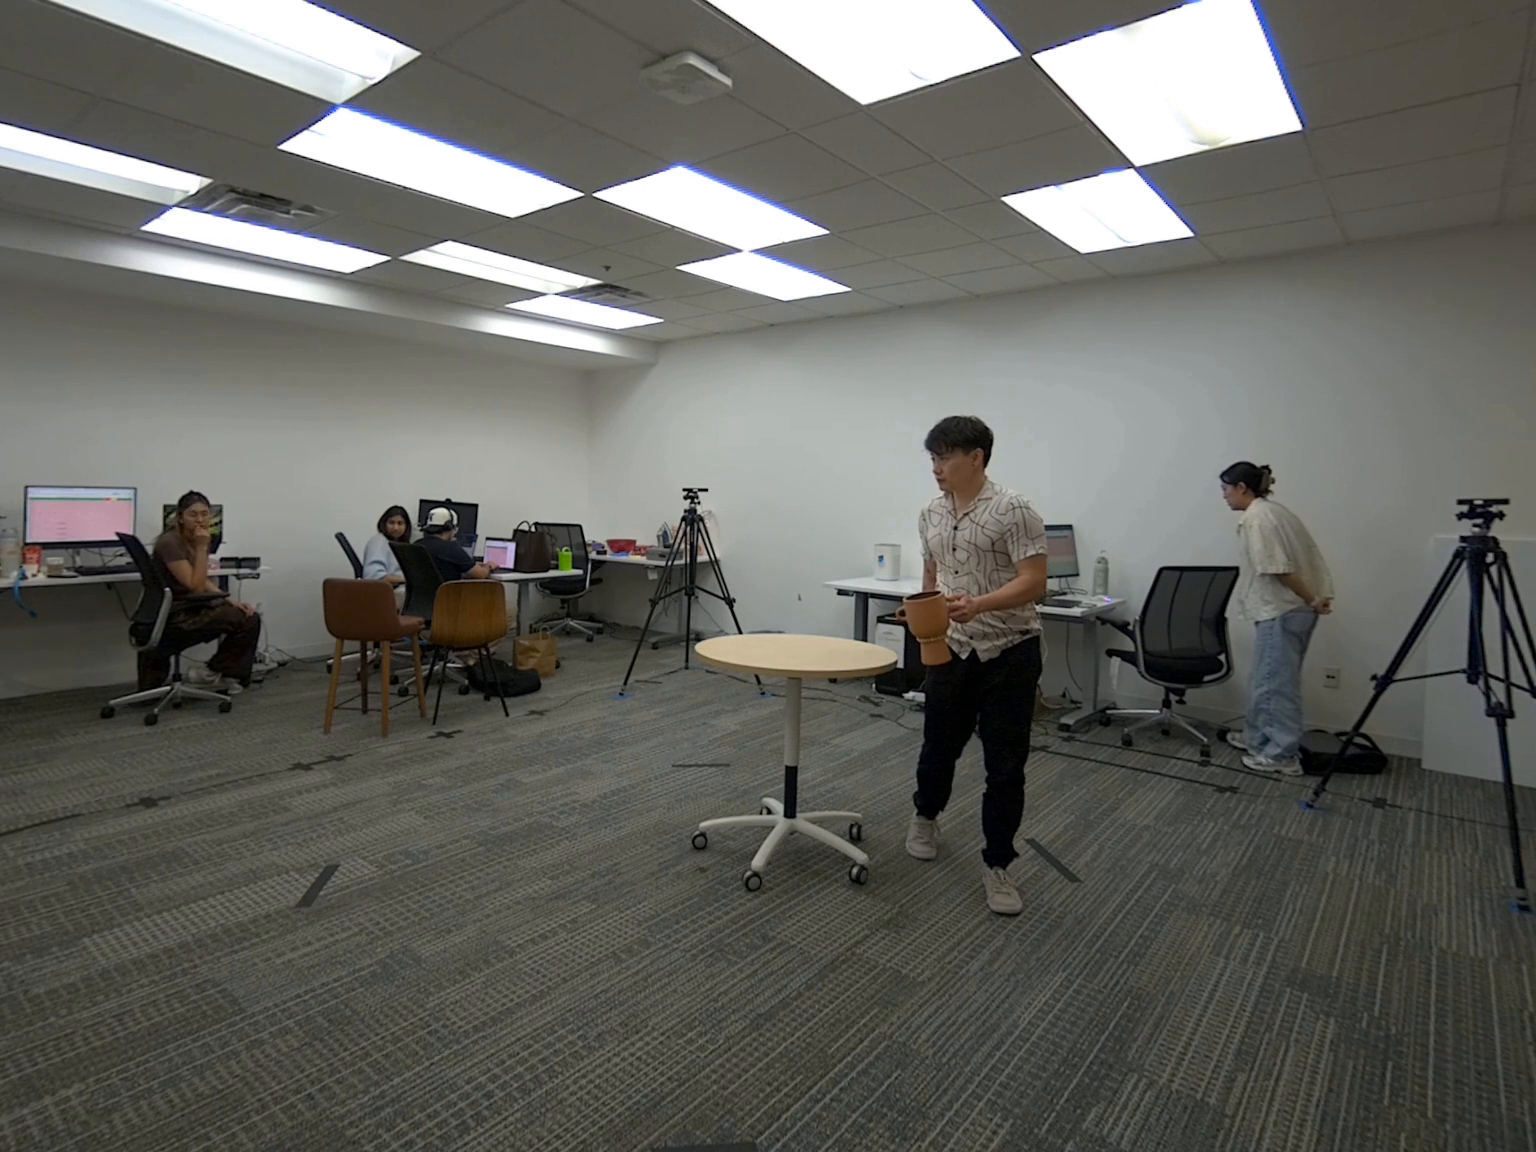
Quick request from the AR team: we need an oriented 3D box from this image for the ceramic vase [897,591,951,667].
[{"bbox_3d":[0.527,0.166,2.773,0.131,0.218,0.163,-13,7,-39],"label":"ceramic vase"}]
